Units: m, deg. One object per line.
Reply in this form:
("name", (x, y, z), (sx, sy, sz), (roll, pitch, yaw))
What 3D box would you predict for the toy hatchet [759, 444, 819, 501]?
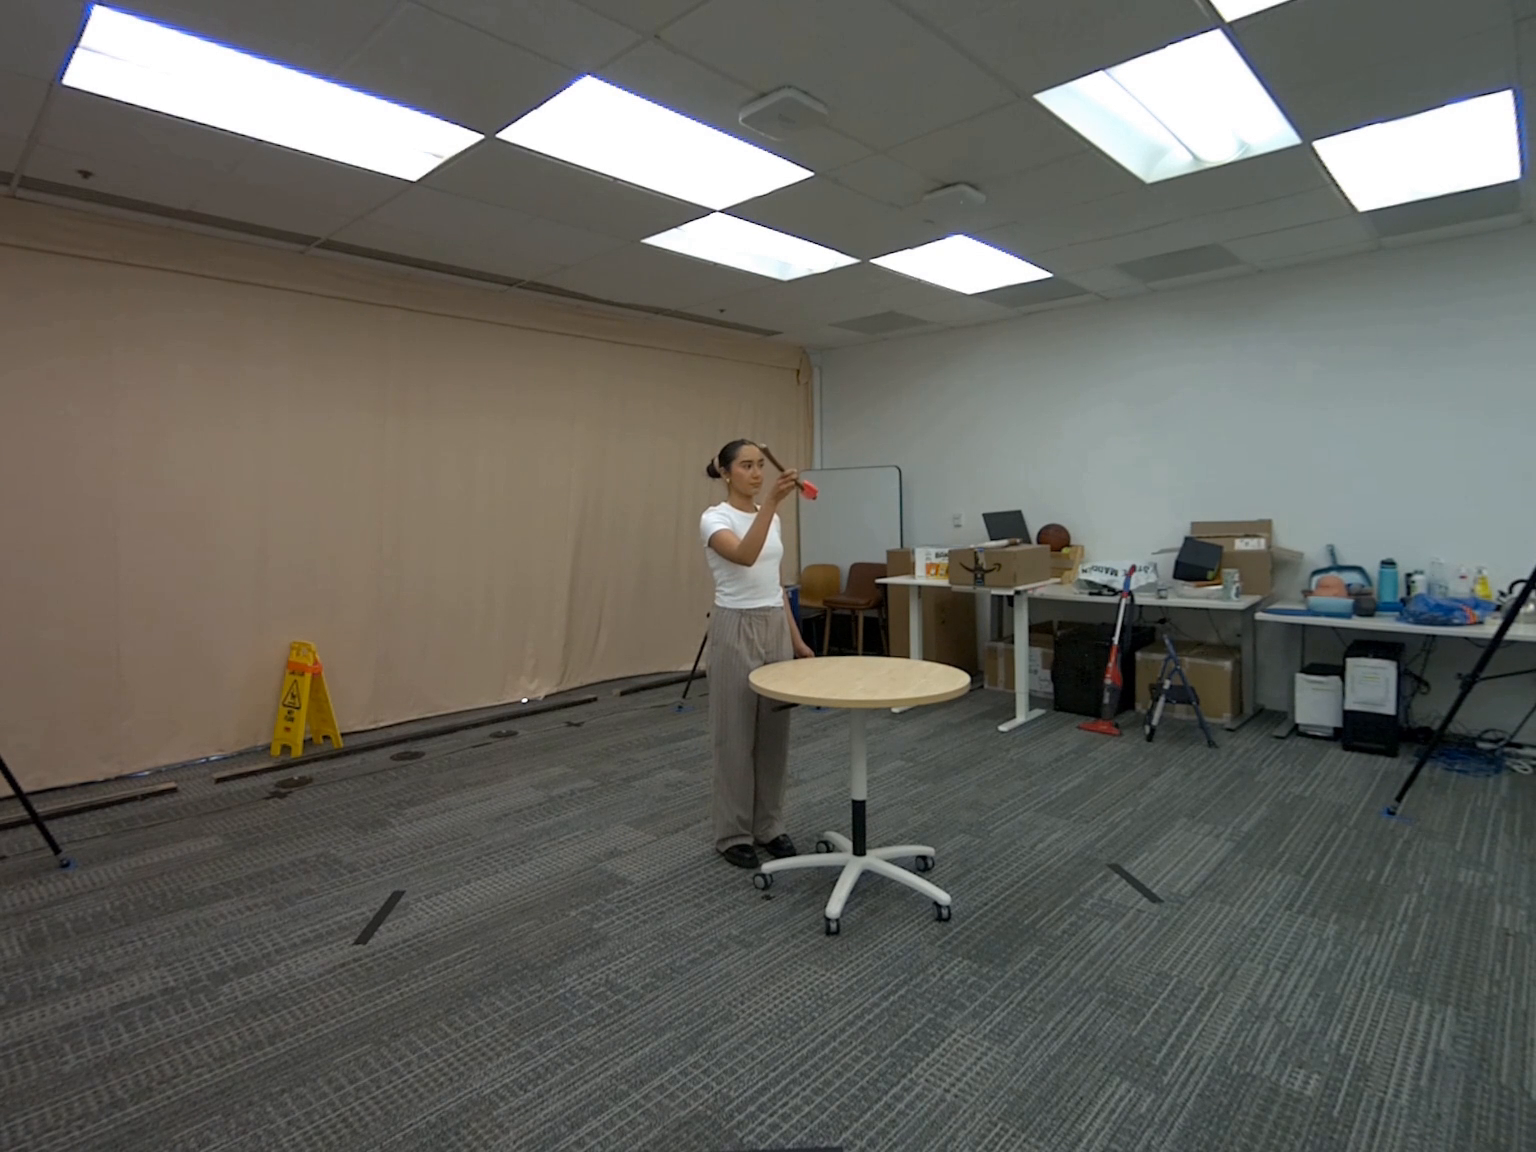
("toy hatchet", (0.084, -0.354, 2.878), (0.263, 0.029, 0.135), (45, -12, -23))
